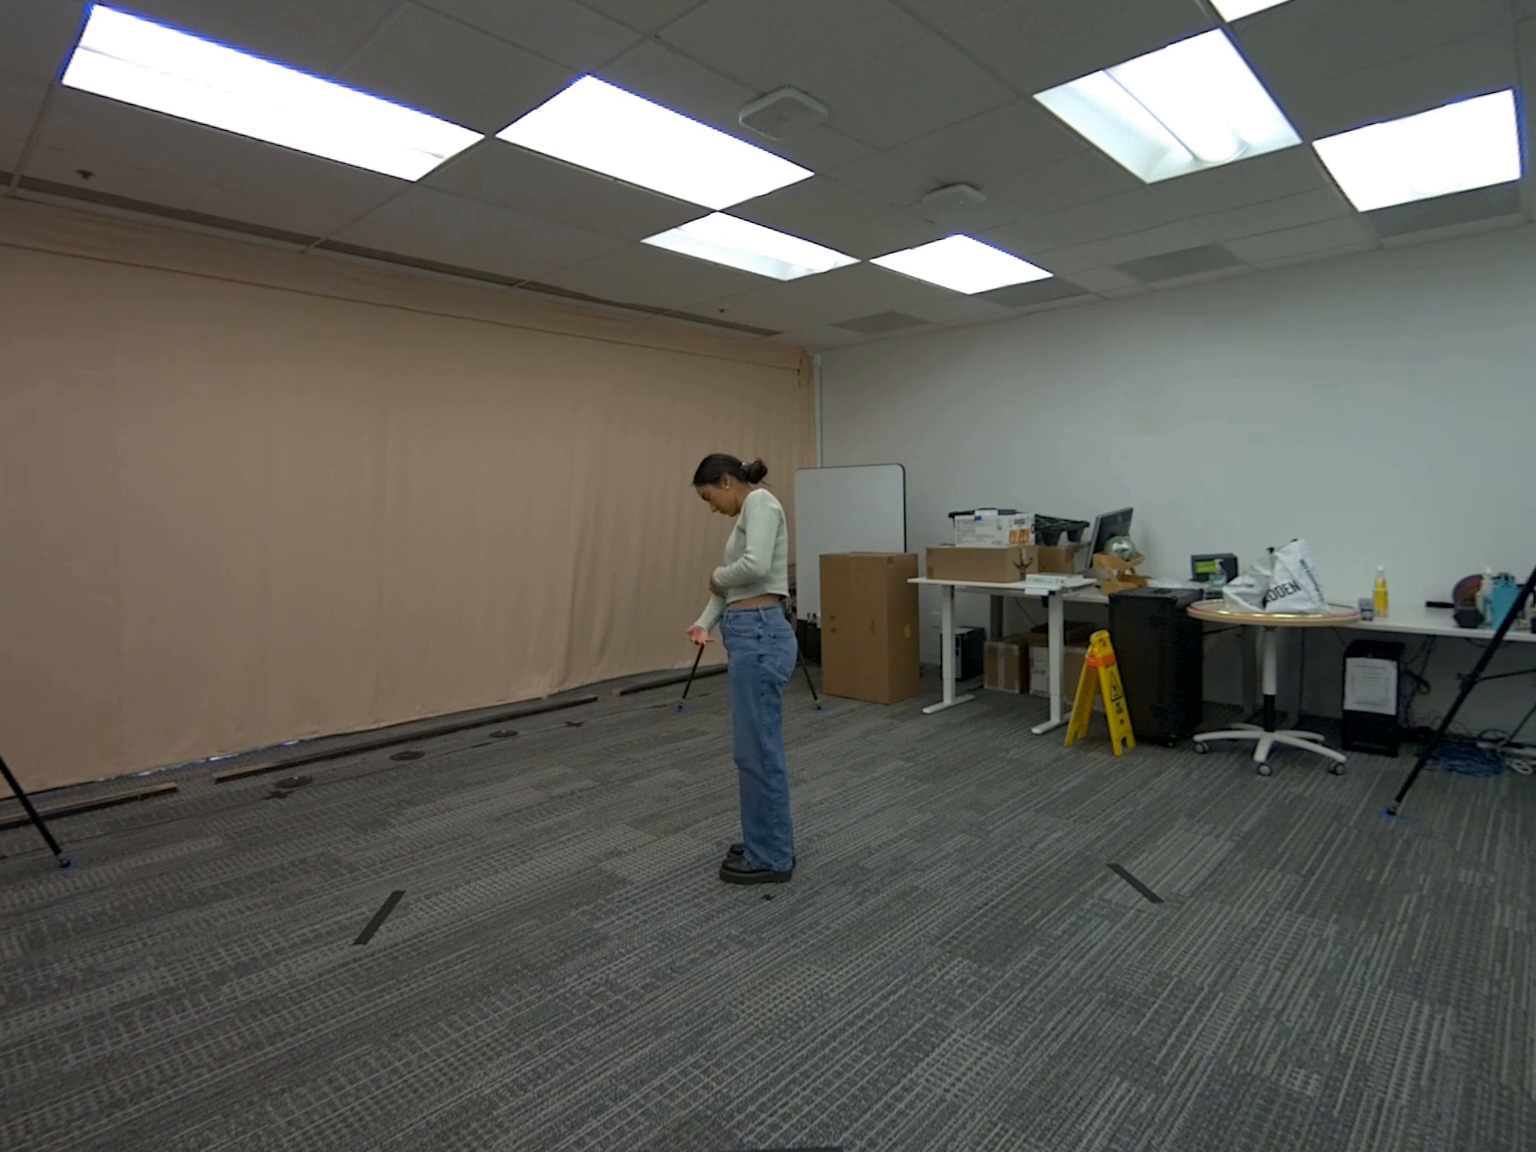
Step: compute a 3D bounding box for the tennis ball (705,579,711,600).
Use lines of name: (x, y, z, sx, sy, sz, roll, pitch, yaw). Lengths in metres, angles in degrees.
tennis ball: (-0.202, 0.047, 3.176, 0.066, 0.066, 0.067, -1, 4, -2)
